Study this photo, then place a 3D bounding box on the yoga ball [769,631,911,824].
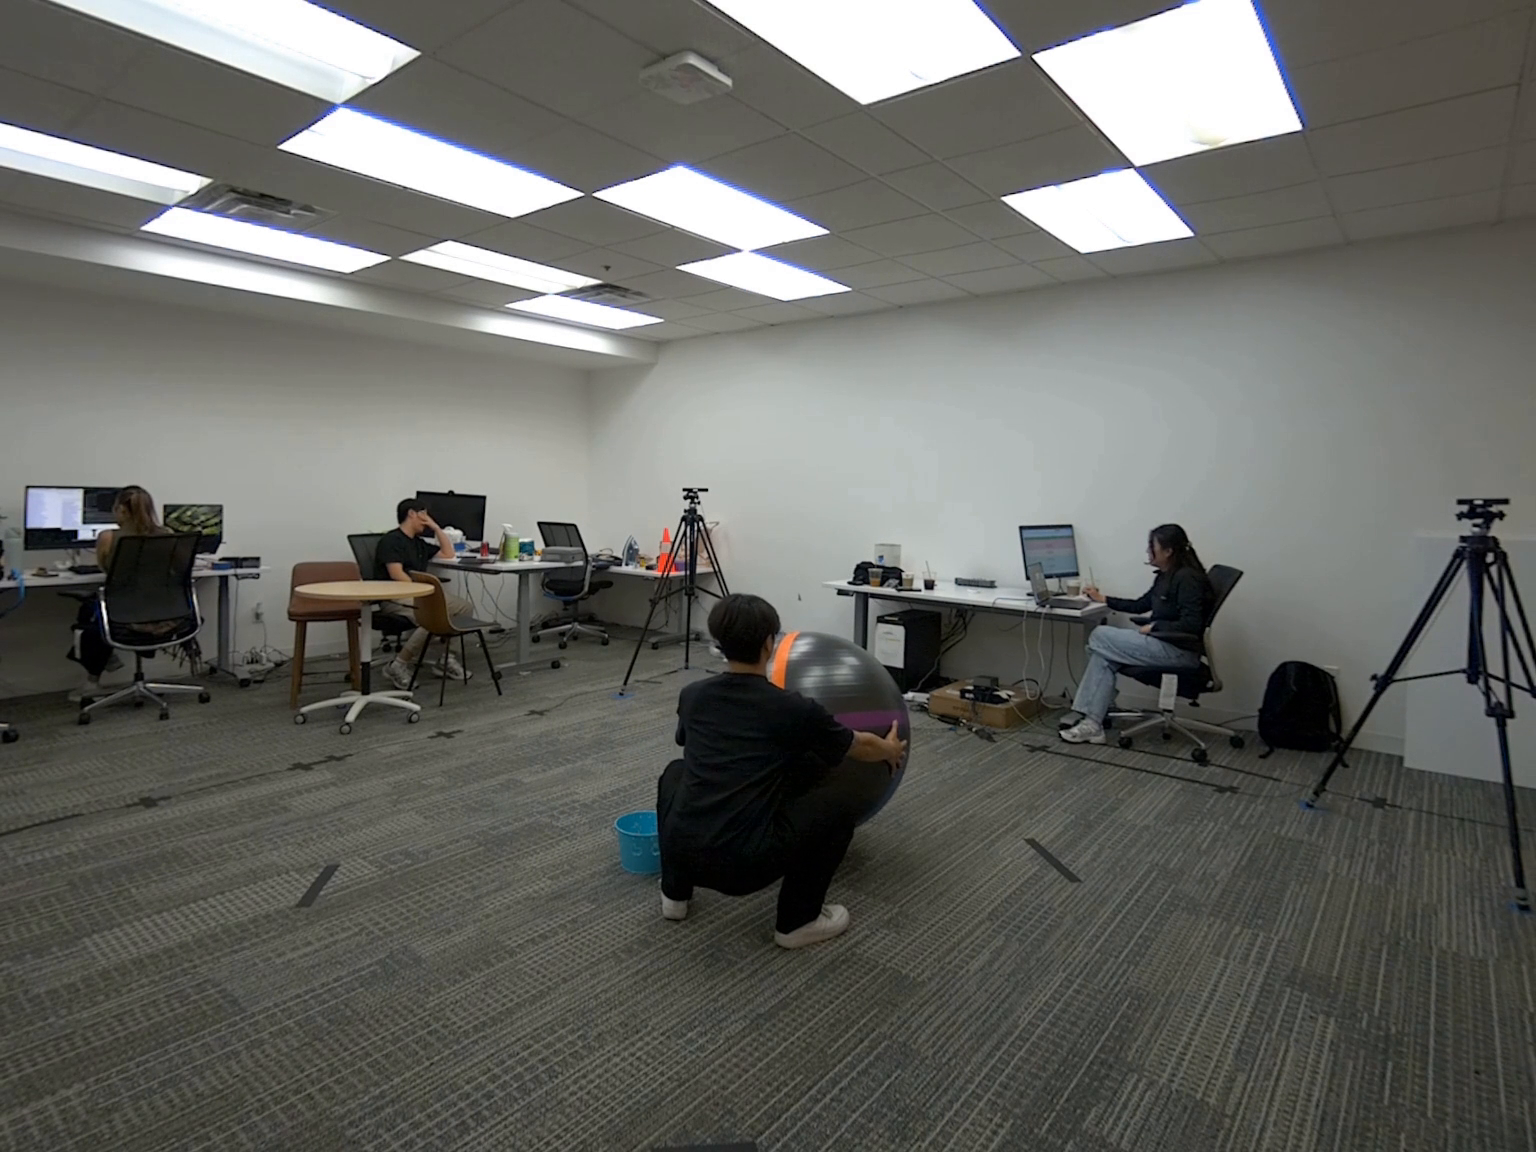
[{"bbox_3d":[0.169,0.607,3.291,0.757,0.755,0.762,1,4,-2],"label":"yoga ball"}]
